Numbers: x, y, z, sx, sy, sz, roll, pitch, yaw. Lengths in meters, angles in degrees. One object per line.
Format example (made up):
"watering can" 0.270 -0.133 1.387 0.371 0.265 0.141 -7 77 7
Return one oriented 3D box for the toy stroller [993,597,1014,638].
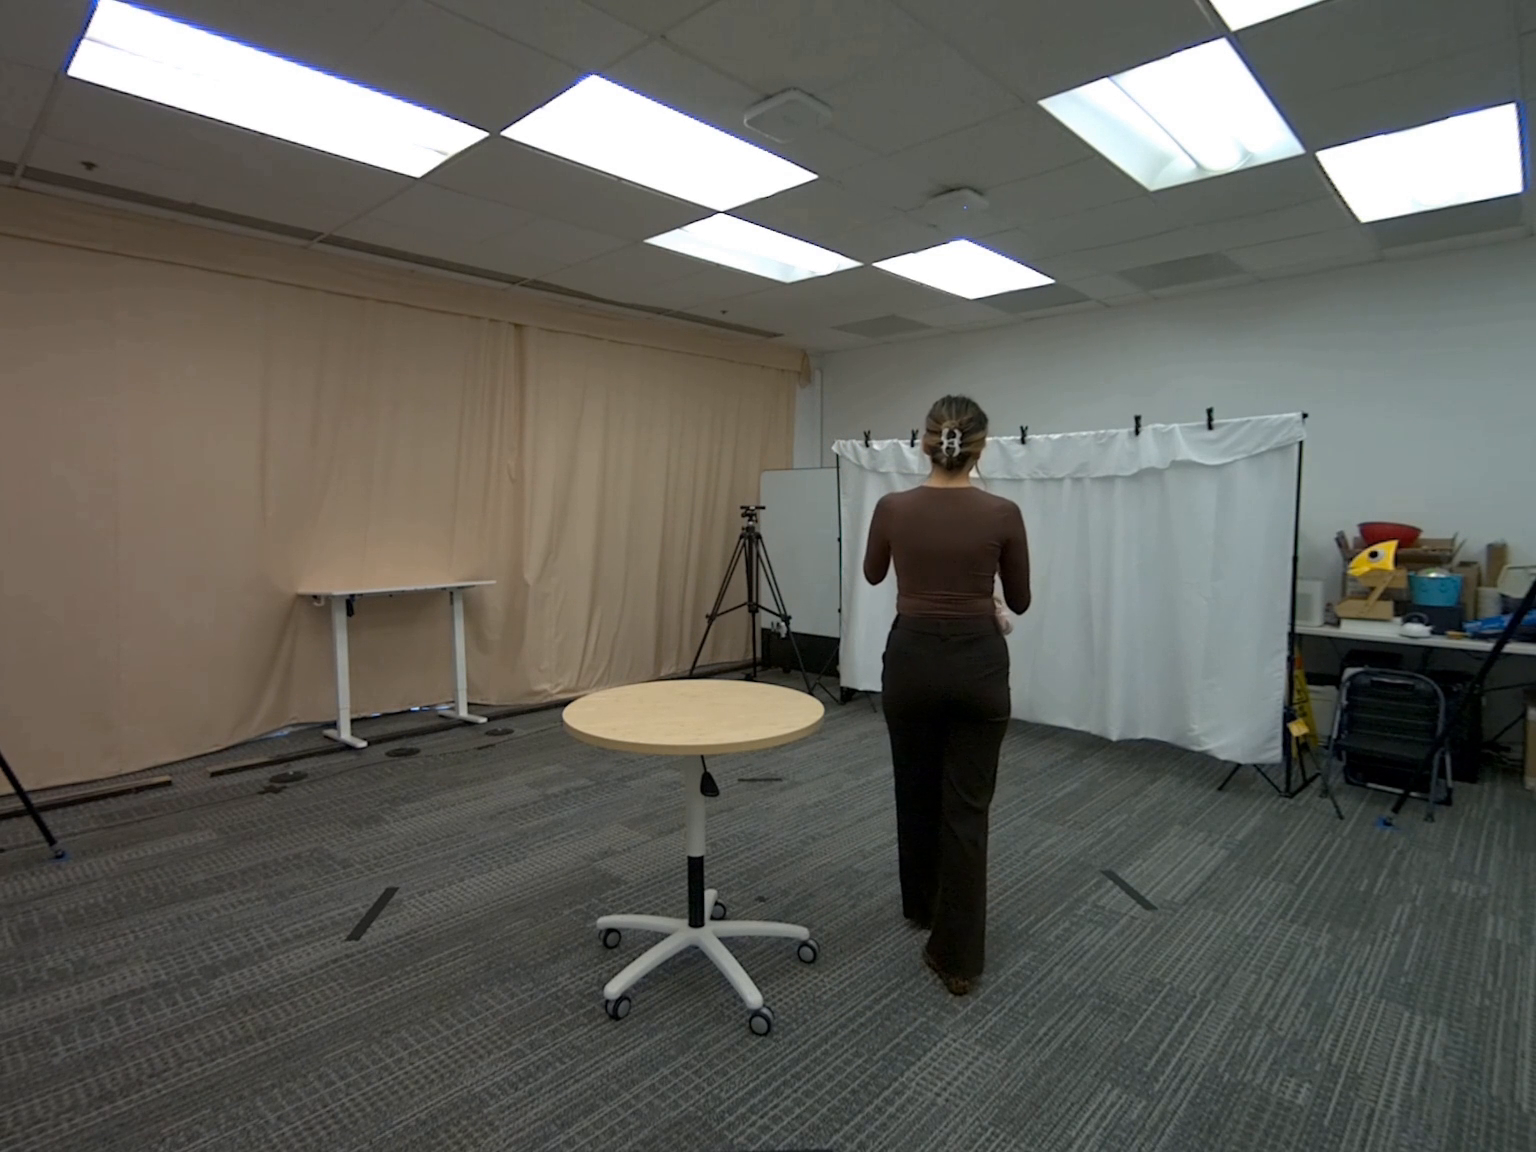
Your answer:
"toy stroller" 0.642 -0.032 2.959 0.350 0.535 0.274 -15 -1 43
